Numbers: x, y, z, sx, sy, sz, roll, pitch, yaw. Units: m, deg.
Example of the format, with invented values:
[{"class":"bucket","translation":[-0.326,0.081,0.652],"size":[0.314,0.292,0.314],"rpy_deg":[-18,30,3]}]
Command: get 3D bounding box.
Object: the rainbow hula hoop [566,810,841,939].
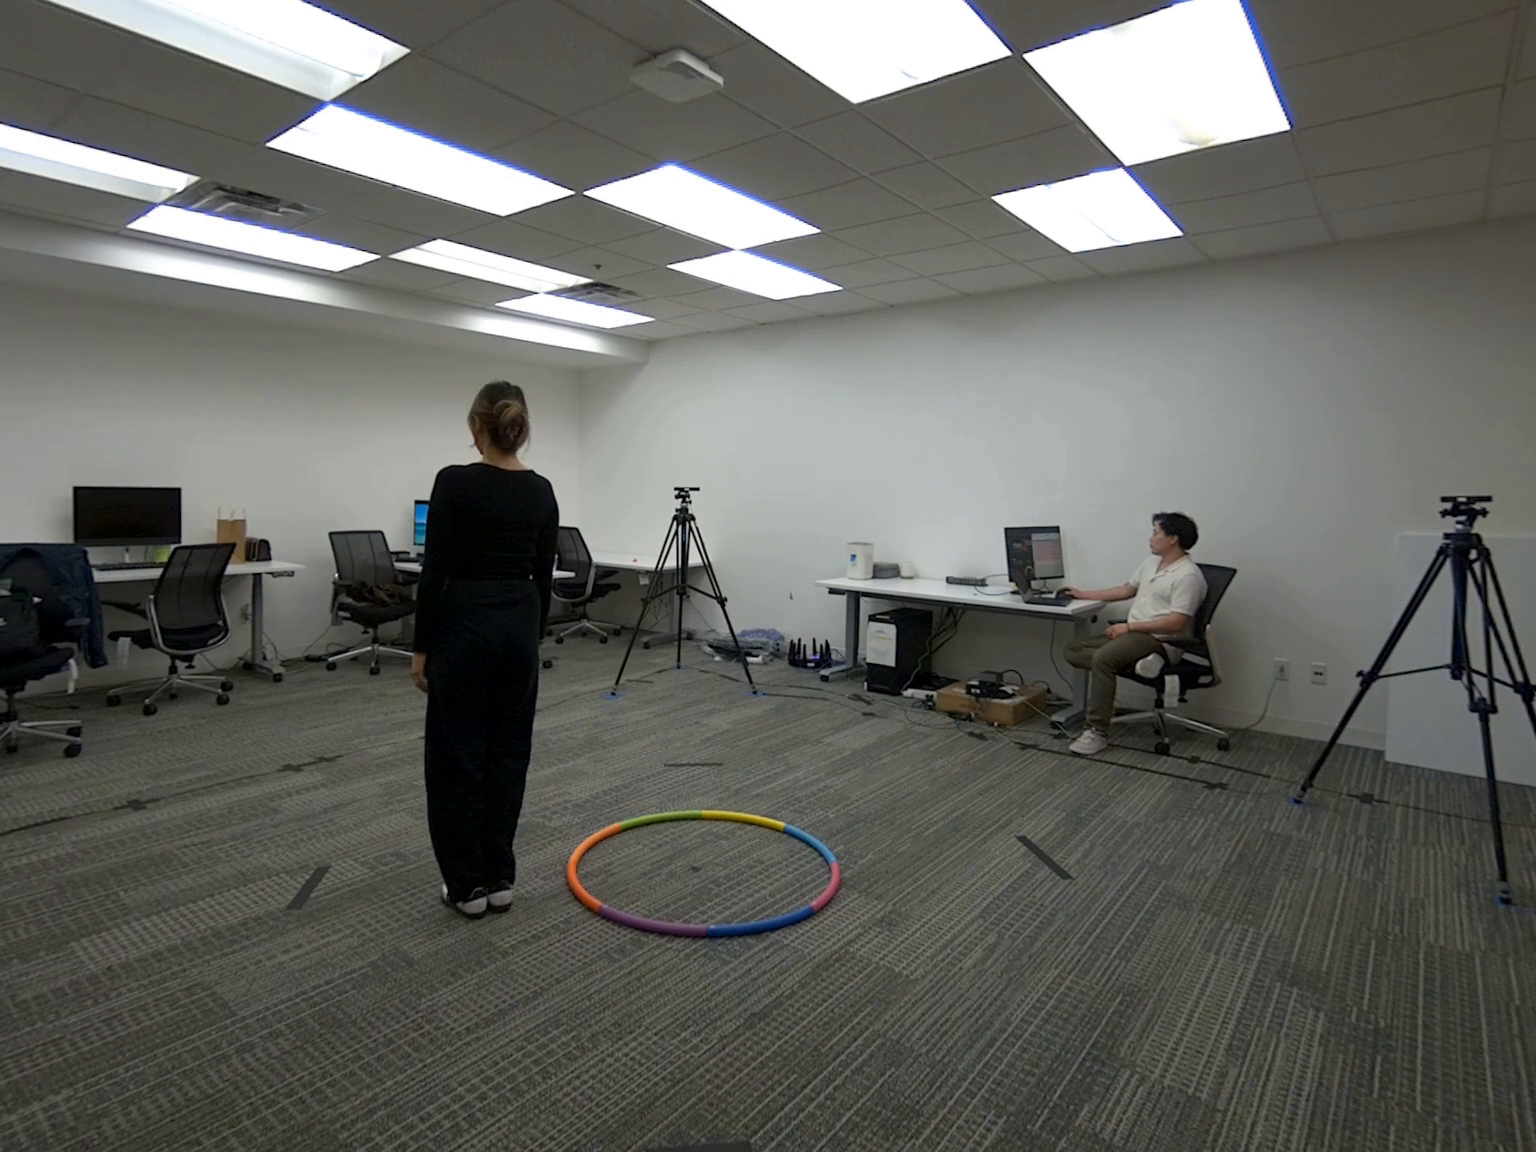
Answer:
[{"class":"rainbow hula hoop","translation":[-0.244,1.036,3.103],"size":[0.978,0.035,0.984],"rpy_deg":[1,6,-2]}]
